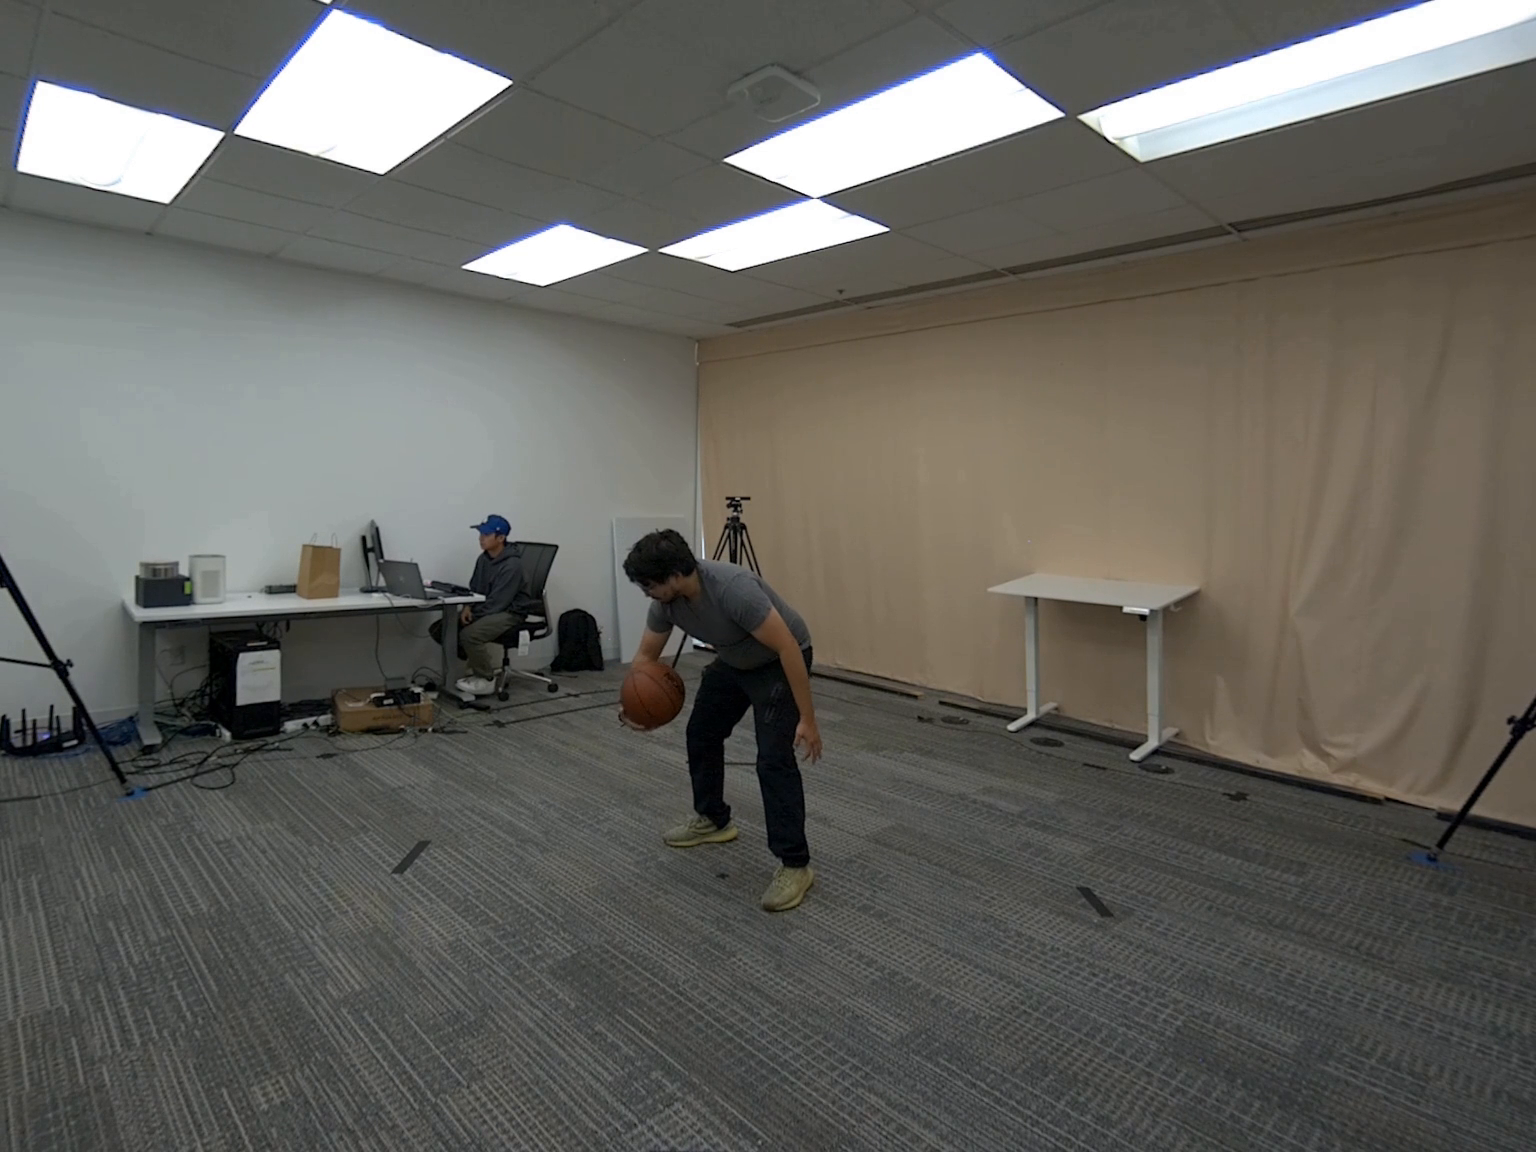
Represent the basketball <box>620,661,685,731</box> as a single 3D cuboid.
[{"bbox_3d":[-0.425,0.440,3.110,0.236,0.235,0.237,1,4,-1],"label":"basketball"}]
